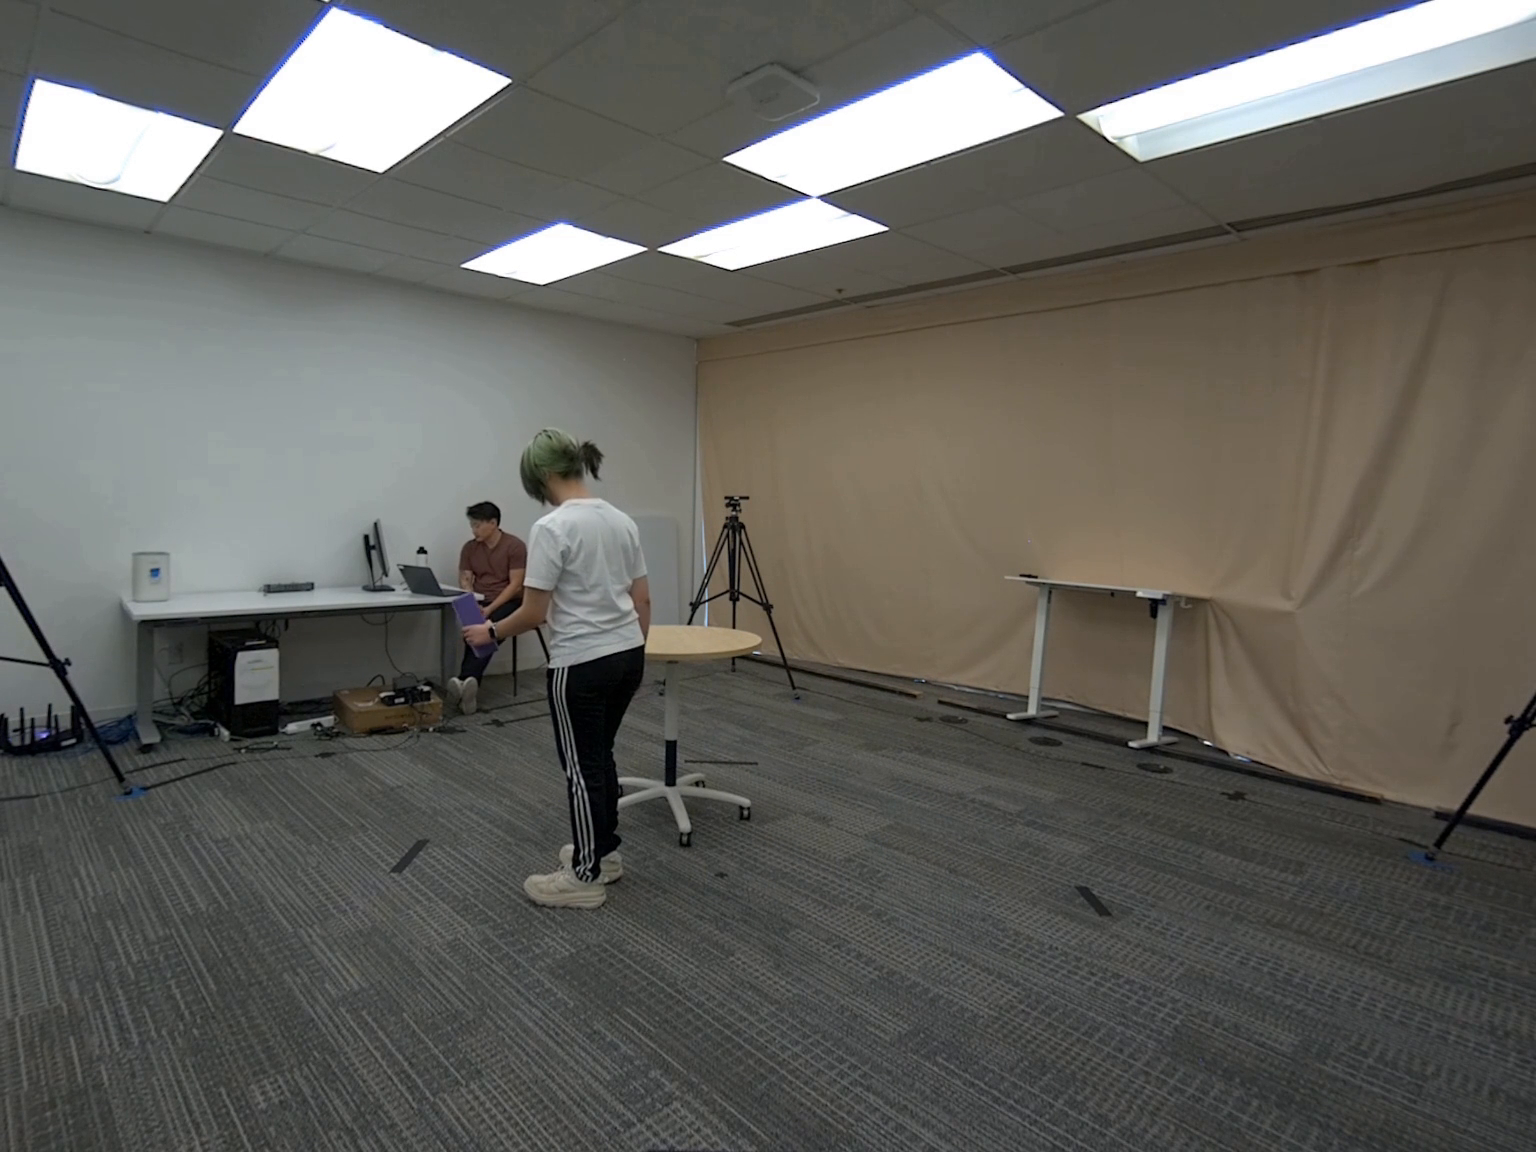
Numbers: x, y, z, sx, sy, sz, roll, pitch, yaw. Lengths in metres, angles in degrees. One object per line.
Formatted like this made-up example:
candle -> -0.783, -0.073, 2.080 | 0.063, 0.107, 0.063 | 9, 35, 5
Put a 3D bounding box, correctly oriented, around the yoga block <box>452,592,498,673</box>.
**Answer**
yoga block -> -1.047, 0.186, 3.006 | 0.076, 0.230, 0.149 | -24, -5, -20
